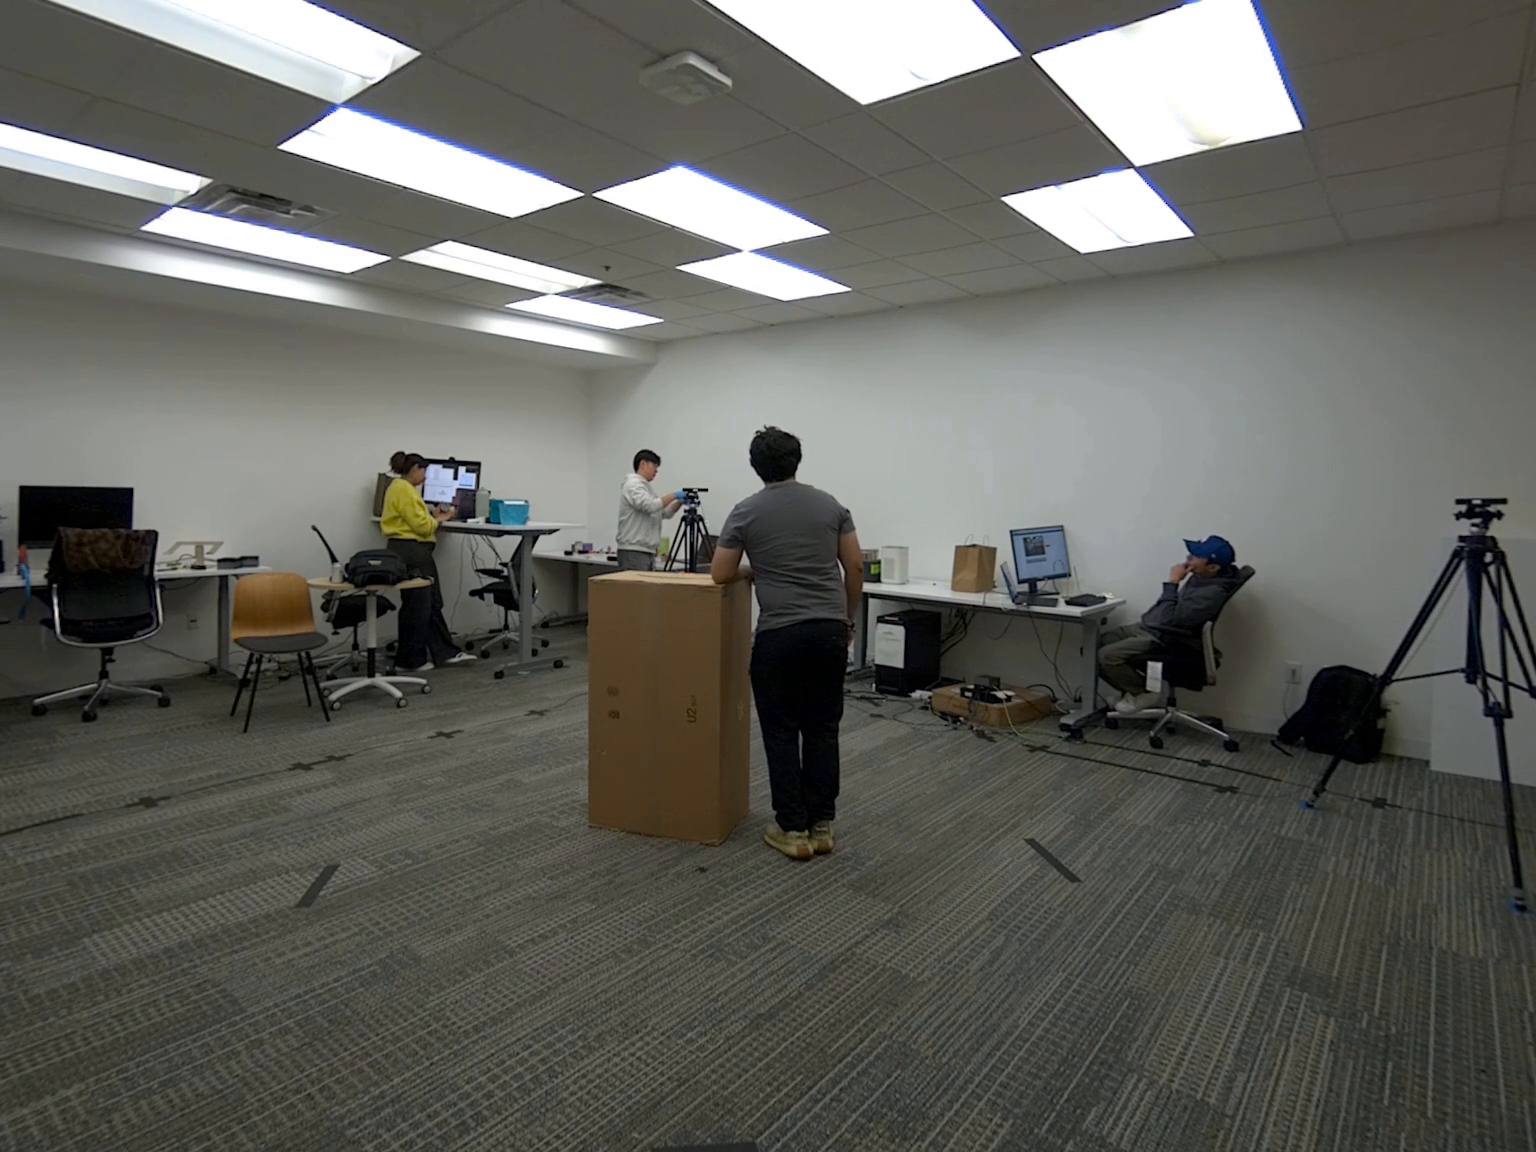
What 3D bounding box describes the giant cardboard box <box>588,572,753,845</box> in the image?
[{"bbox_3d":[-0.419,0.511,3.586,0.589,1.023,0.419,1,3,19],"label":"giant cardboard box"}]
